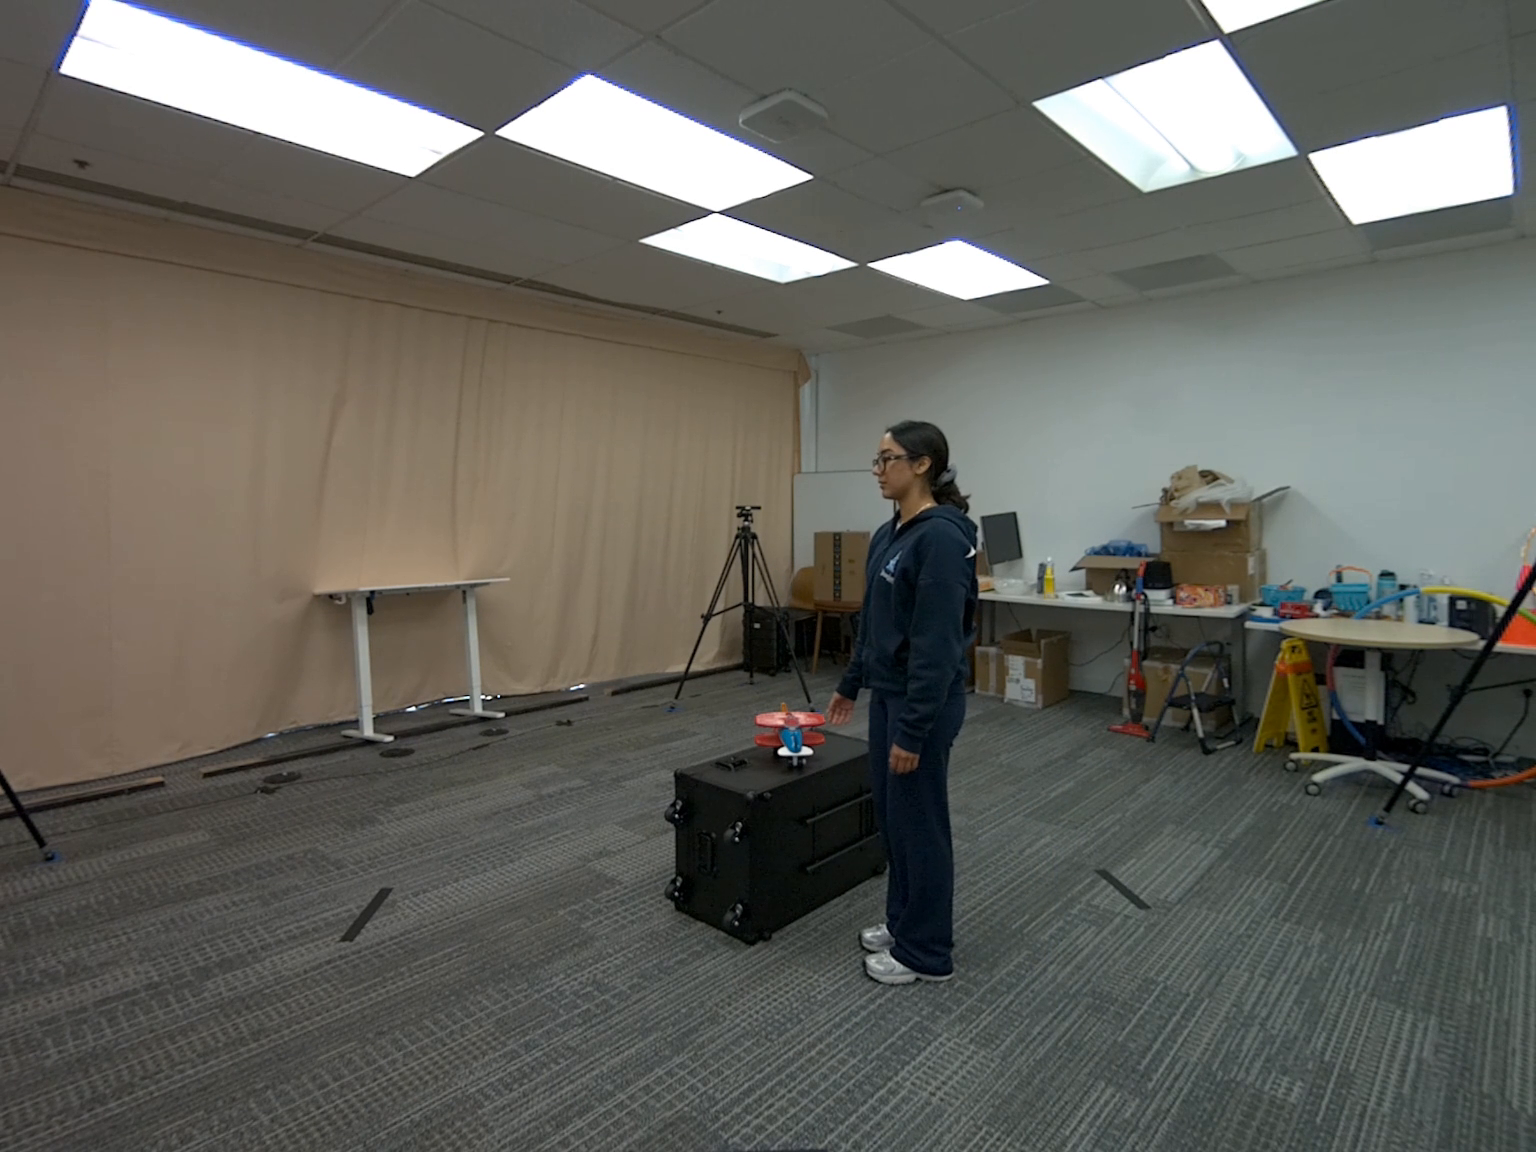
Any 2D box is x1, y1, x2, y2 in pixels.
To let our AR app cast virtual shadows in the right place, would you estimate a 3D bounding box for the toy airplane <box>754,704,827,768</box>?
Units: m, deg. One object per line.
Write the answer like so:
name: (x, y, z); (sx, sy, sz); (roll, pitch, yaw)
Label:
toy airplane: (0.124, 0.574, 3.020); (0.244, 0.156, 0.267); (-3, 4, -30)
